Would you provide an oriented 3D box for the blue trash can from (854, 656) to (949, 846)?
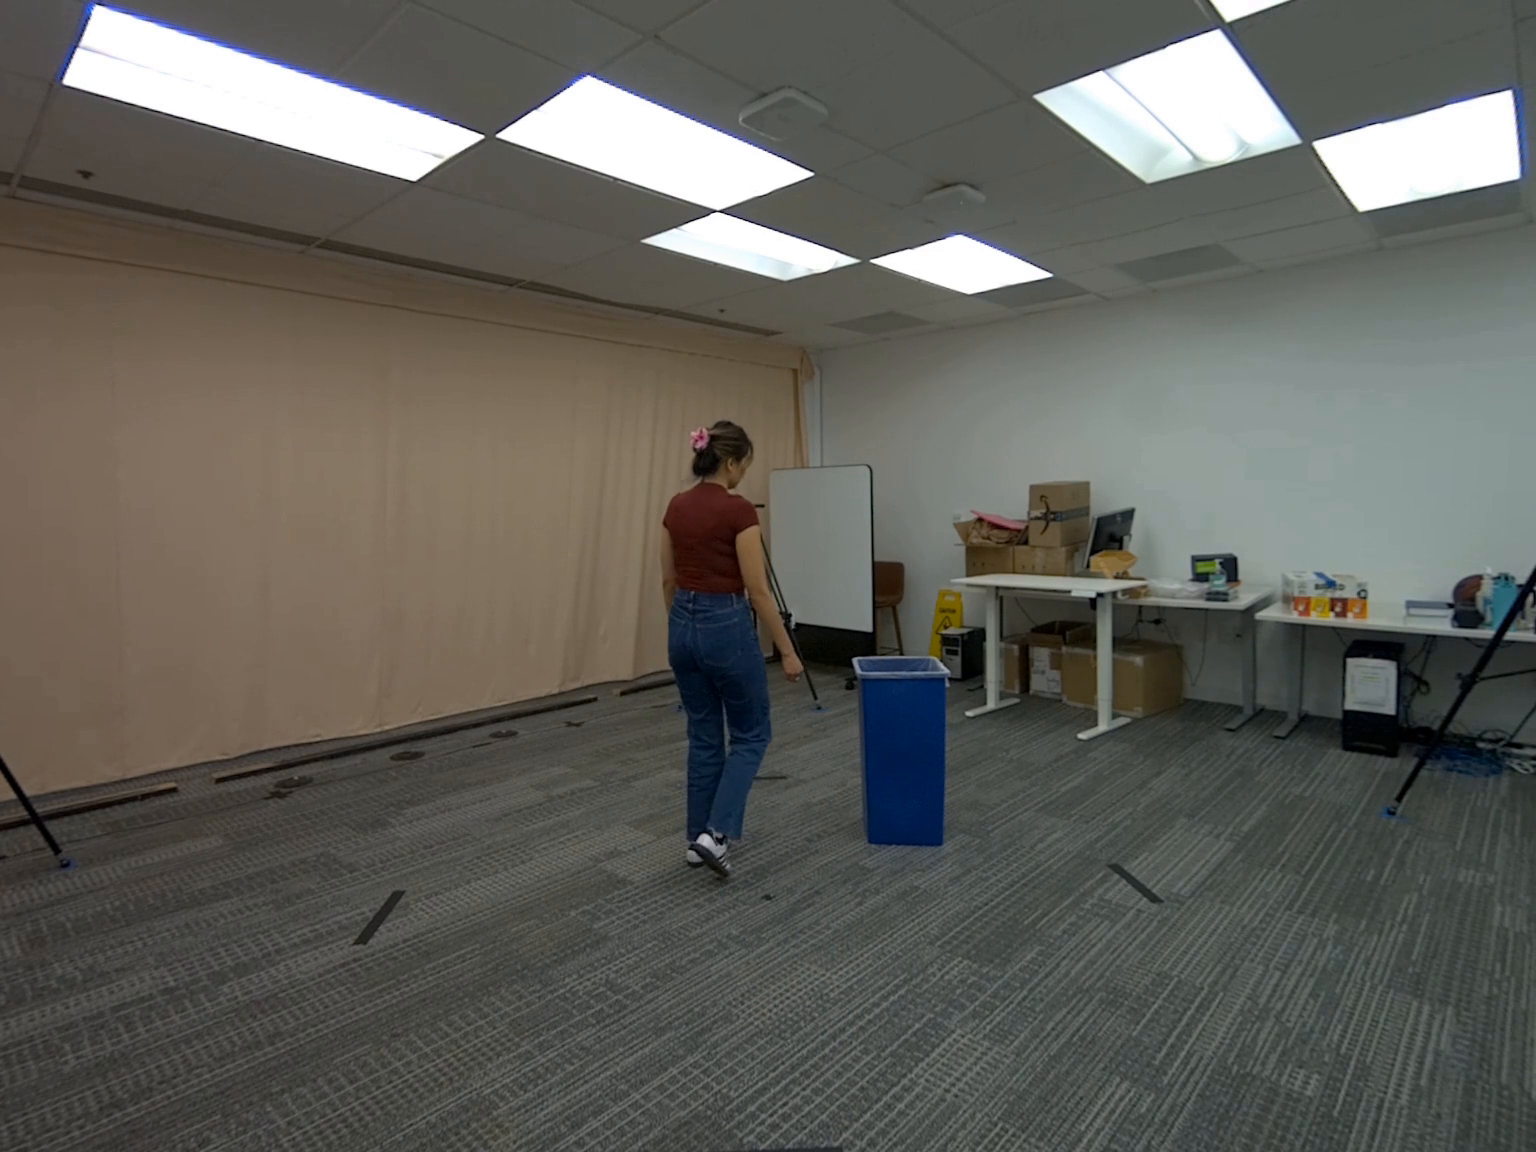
[{"bbox_3d":[0.557,0.727,3.547,0.376,0.712,0.377,0,3,4],"label":"blue trash can"}]
